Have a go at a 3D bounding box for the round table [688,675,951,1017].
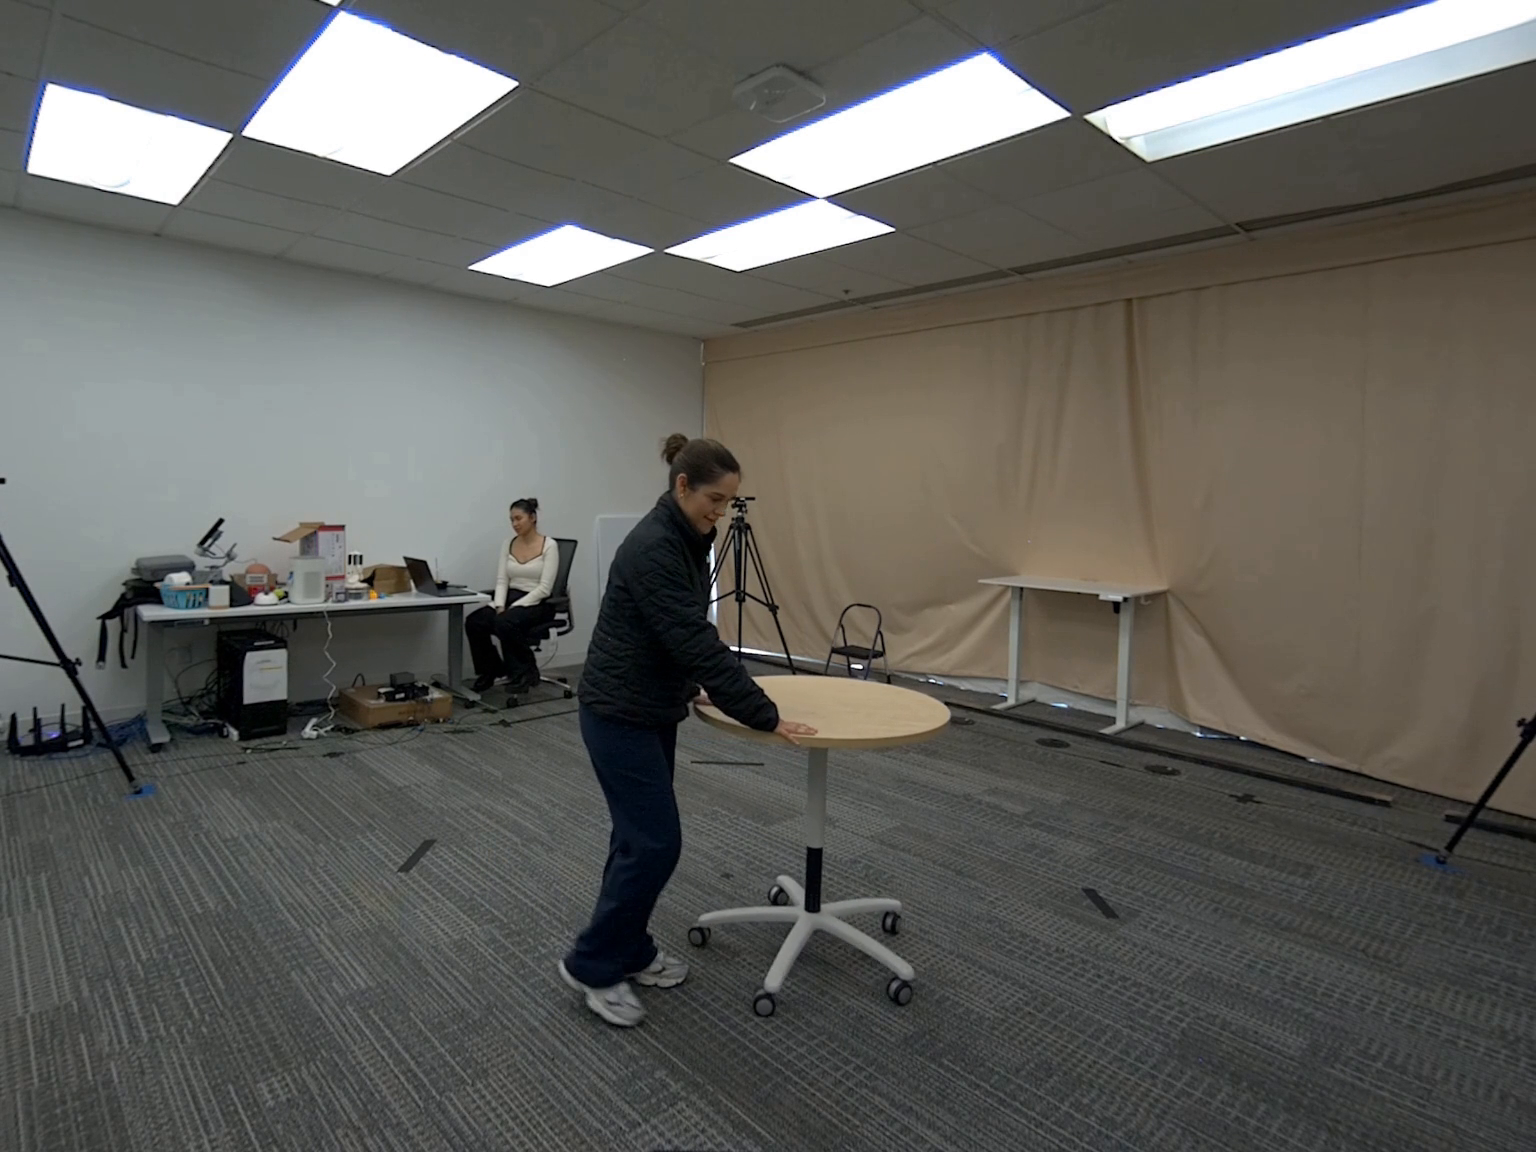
[{"bbox_3d":[0.130,0.775,2.540,0.784,0.784,0.788,1,4,-1],"label":"round table"}]
